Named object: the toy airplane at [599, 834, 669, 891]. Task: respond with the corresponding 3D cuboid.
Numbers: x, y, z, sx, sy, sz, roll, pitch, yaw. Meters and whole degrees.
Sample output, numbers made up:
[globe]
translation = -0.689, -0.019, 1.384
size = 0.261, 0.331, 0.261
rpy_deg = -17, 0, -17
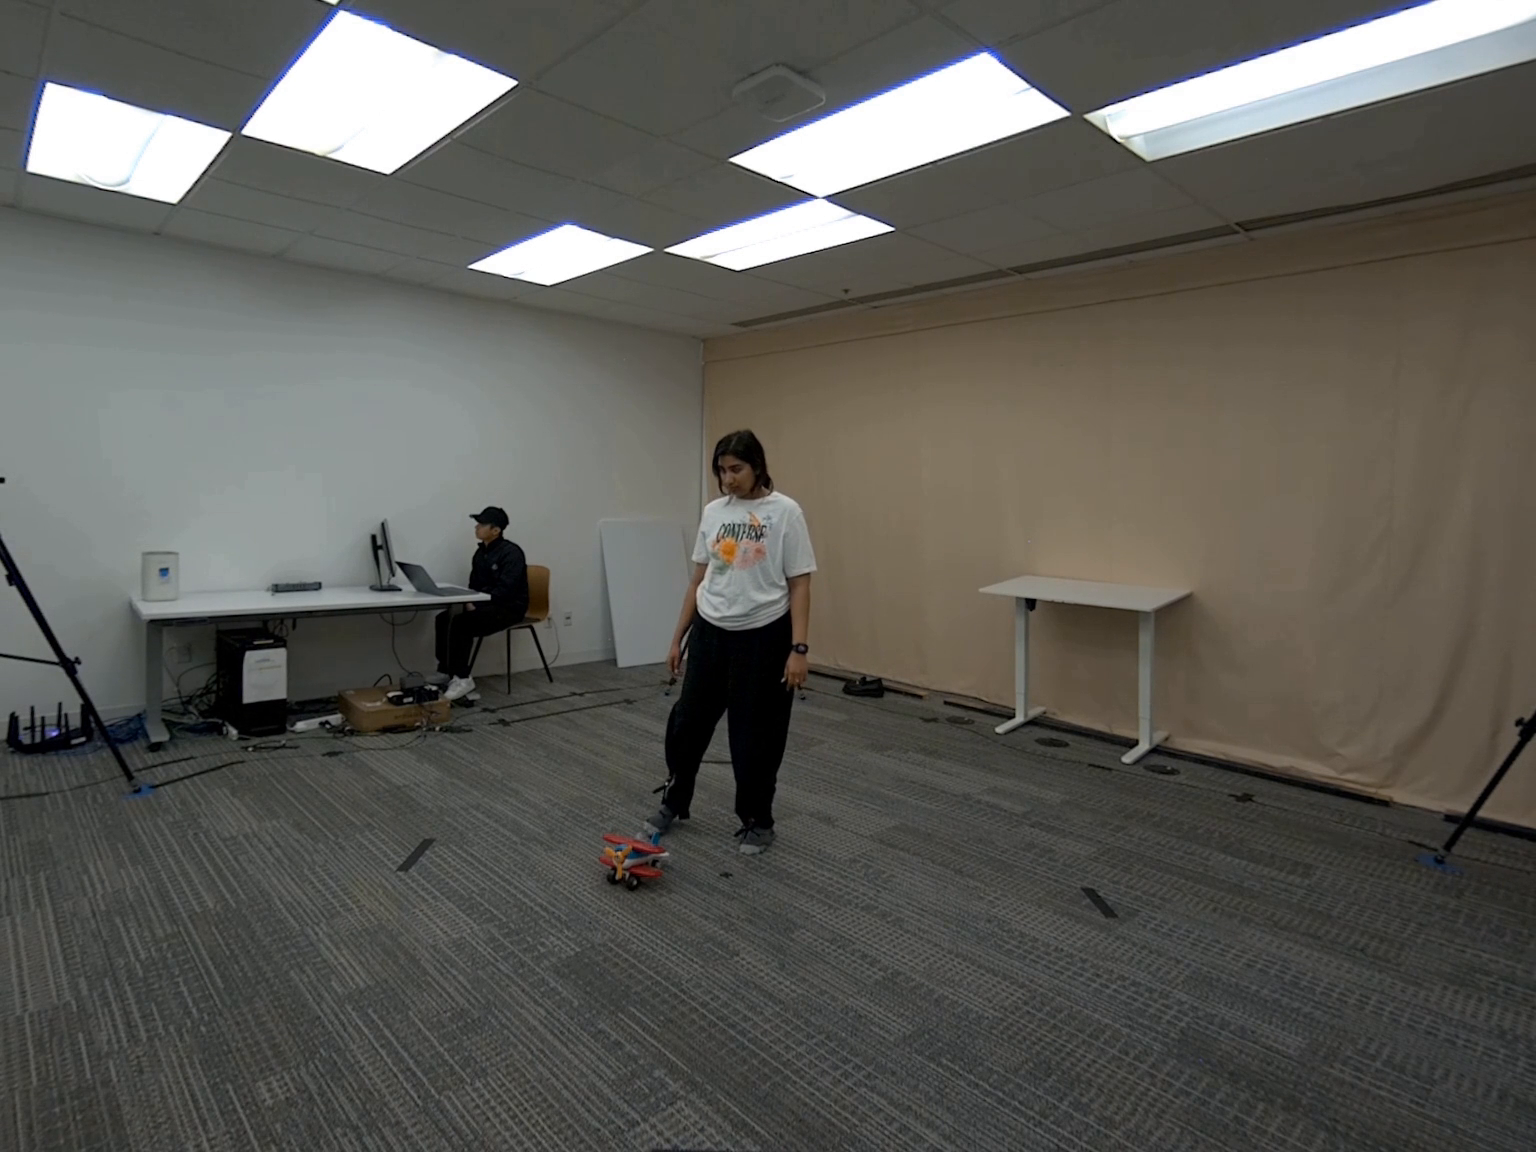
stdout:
[toy airplane]
translation = -0.497, 1.023, 3.075
size = 0.251, 0.156, 0.260
rpy_deg = 1, 6, -1
